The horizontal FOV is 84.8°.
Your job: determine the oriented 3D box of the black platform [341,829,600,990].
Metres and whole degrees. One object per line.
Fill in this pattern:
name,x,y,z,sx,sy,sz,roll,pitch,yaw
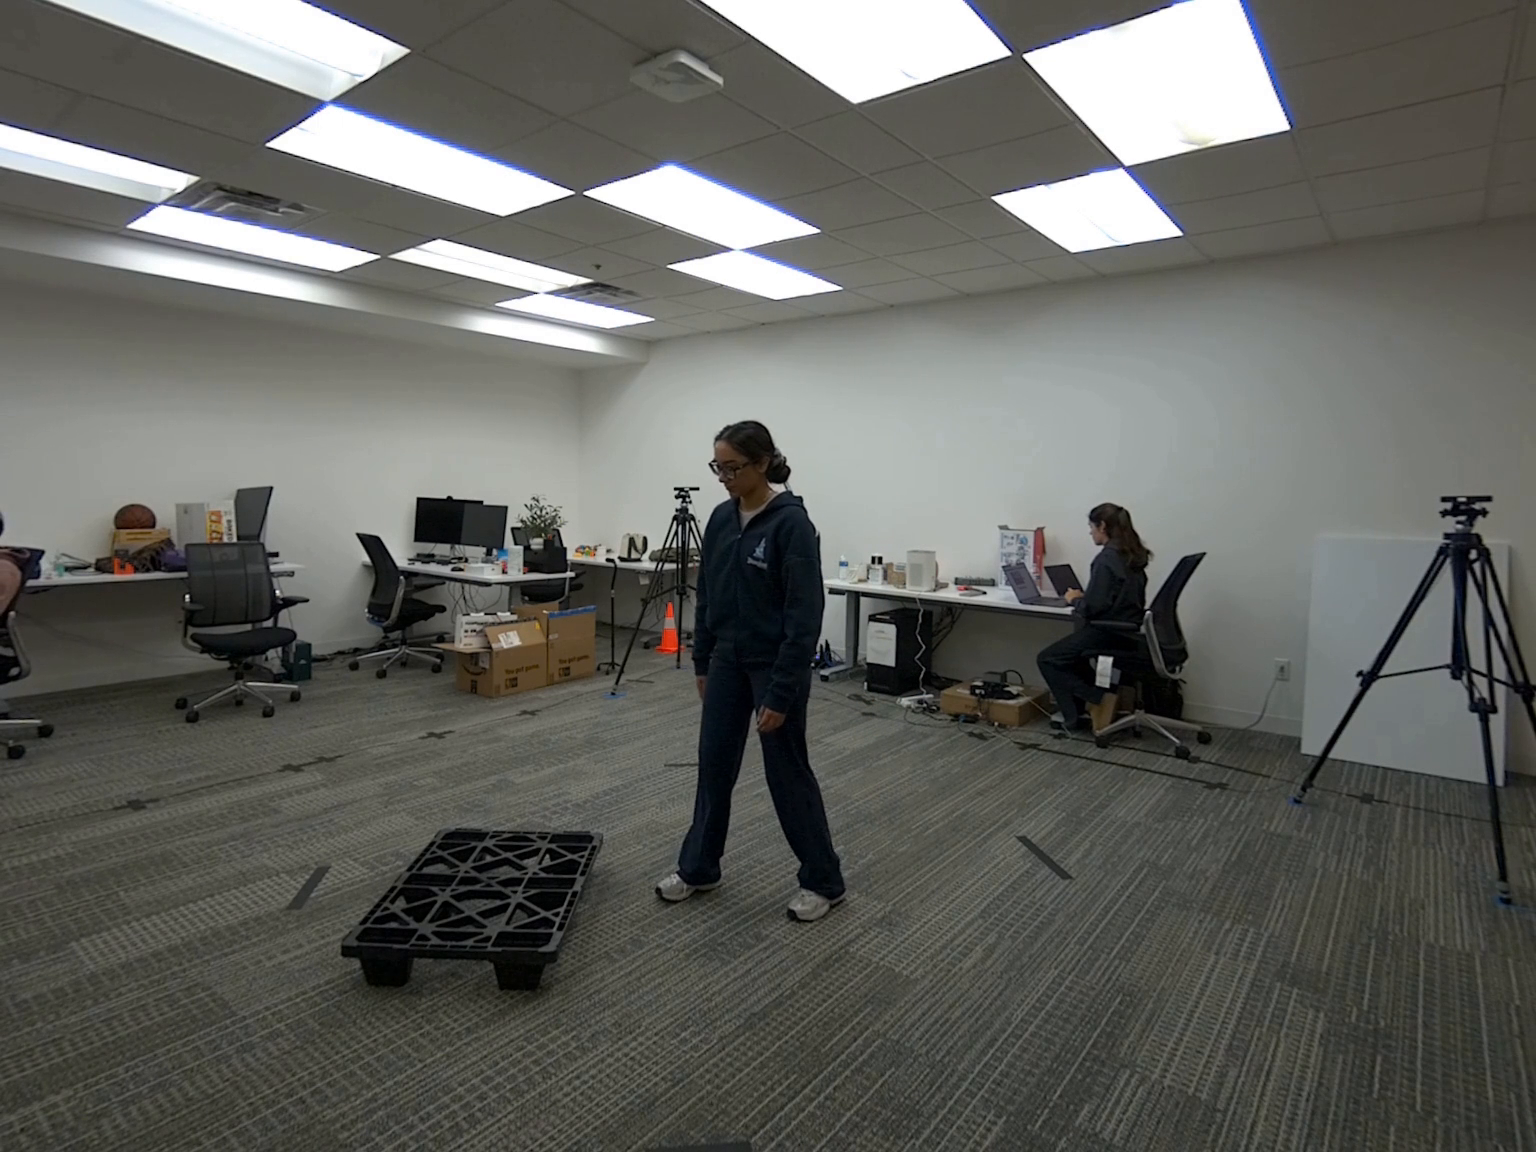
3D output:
black platform,-0.895,1.029,2.703,0.605,0.143,0.809,0,6,-1
